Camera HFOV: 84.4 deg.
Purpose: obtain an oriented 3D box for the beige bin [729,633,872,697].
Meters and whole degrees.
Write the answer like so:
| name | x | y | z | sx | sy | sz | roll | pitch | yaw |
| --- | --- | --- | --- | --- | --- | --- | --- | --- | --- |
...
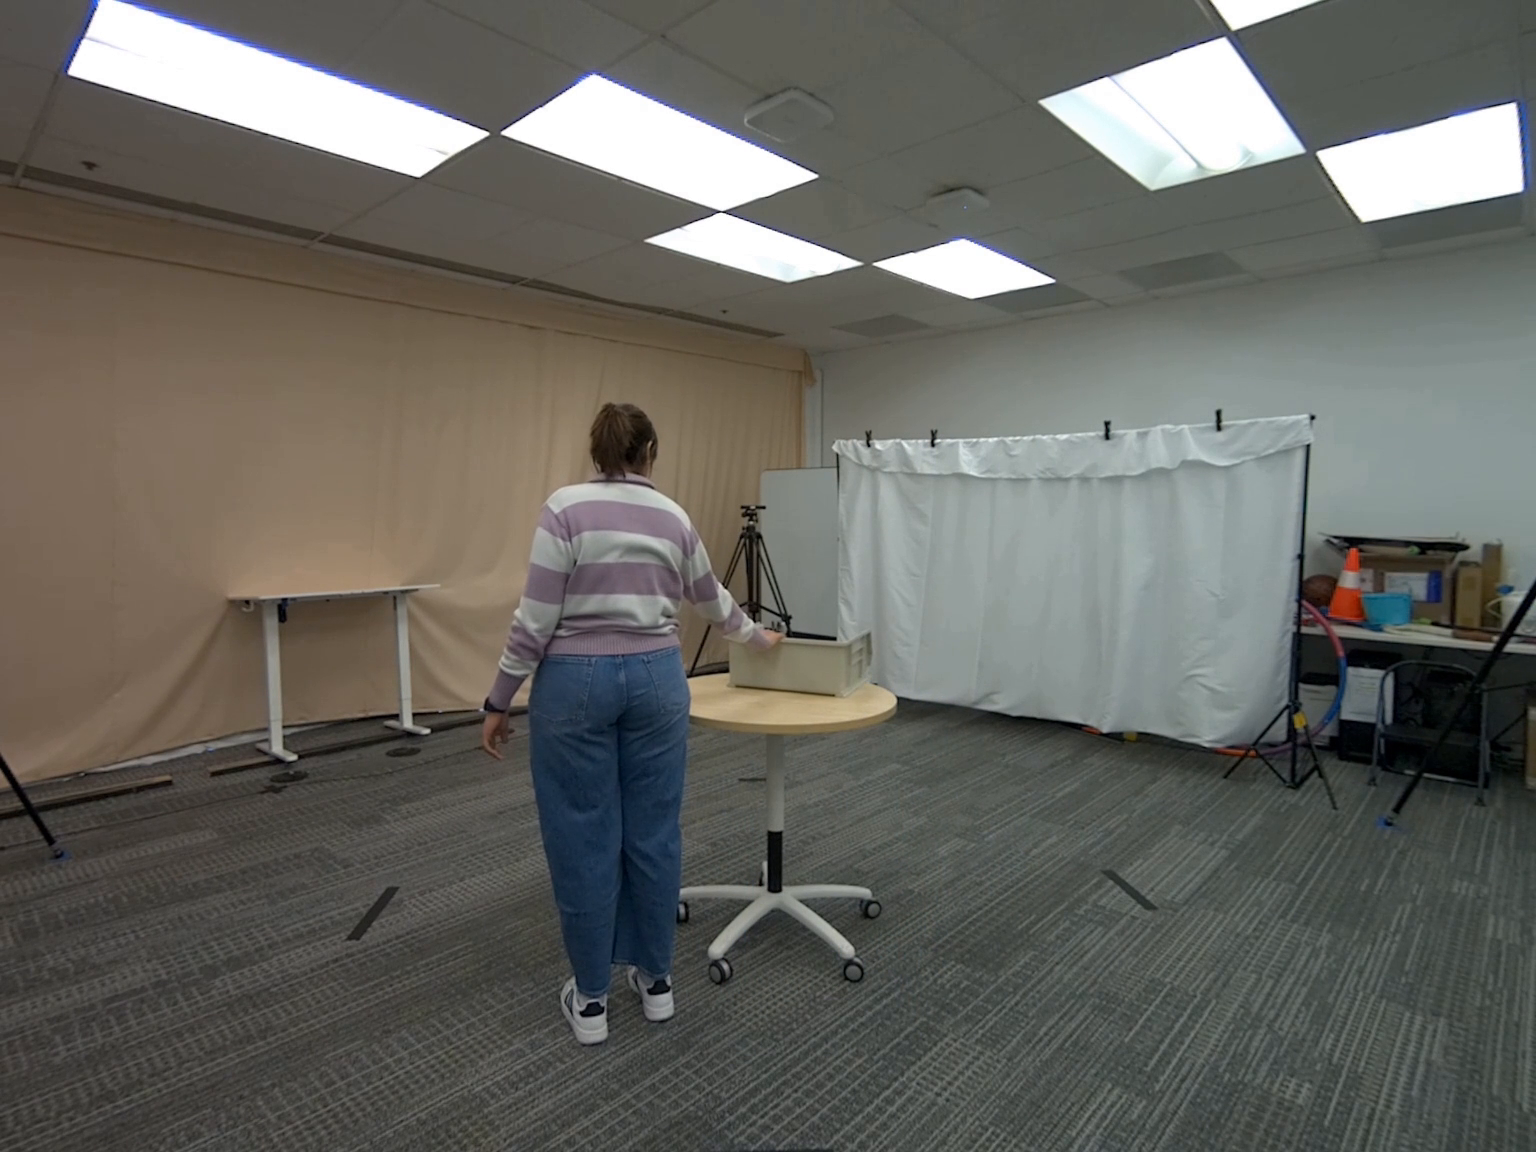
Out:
| name | x | y | z | sx | sy | sz | roll | pitch | yaw |
| --- | --- | --- | --- | --- | --- | --- | --- | --- | --- |
| beige bin | 0.117 | 0.280 | 2.903 | 0.432 | 0.188 | 0.370 | 2 | 6 | 21 |
